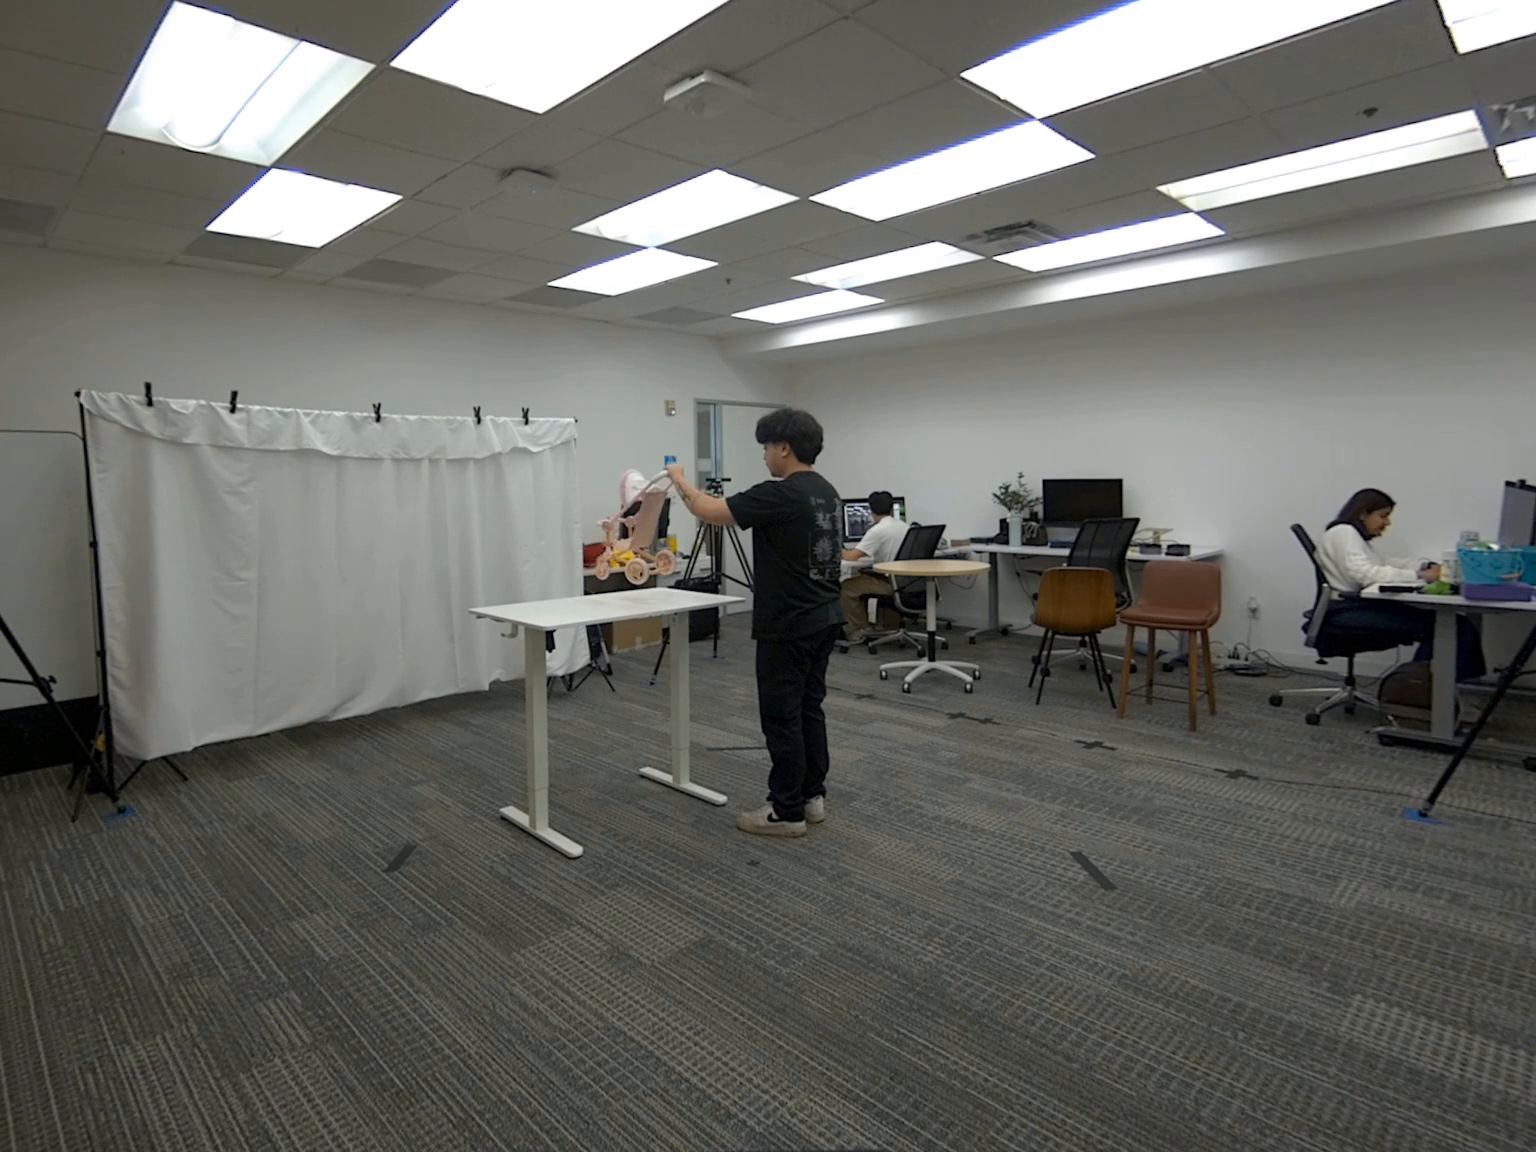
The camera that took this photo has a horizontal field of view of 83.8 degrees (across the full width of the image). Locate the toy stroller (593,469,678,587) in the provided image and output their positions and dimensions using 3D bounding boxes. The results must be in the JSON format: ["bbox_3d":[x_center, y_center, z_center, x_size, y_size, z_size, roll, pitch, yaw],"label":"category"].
[{"bbox_3d":[-0.567,-0.212,3.656,0.351,0.530,0.276,12,12,26],"label":"toy stroller"}]
